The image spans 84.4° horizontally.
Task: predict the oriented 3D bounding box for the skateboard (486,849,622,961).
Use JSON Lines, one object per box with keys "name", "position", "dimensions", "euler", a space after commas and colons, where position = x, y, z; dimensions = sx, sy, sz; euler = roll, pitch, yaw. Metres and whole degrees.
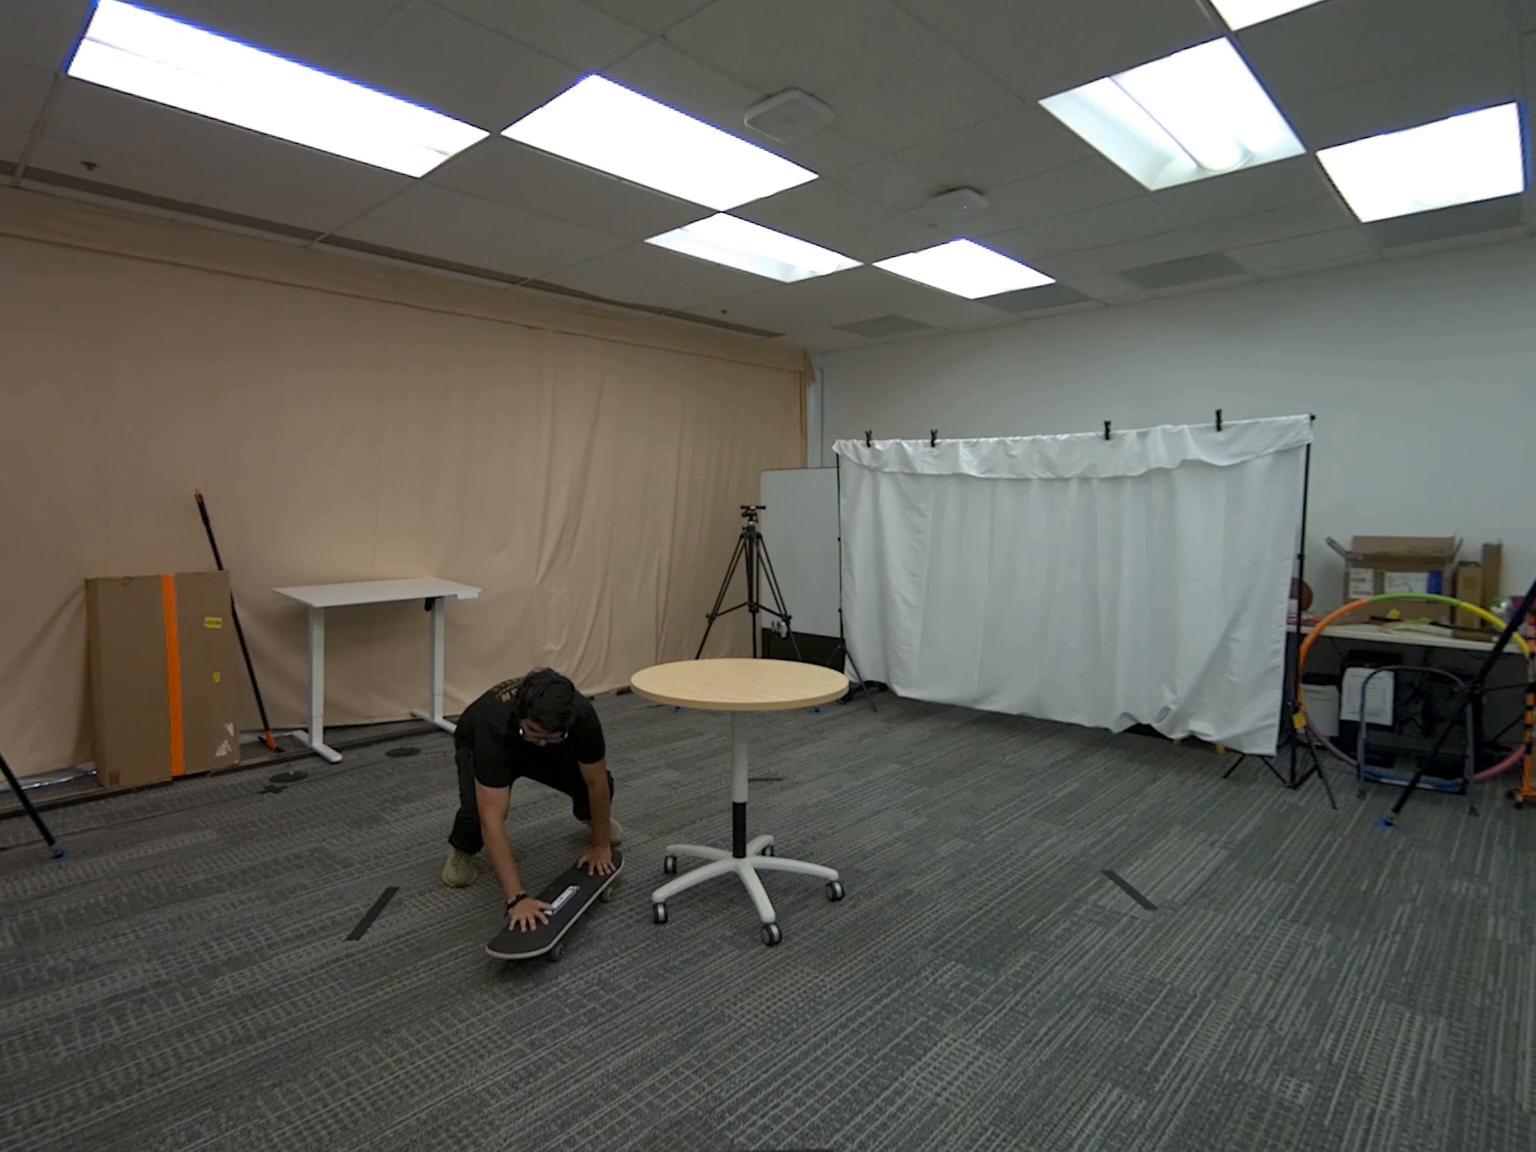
{"name": "skateboard", "position": [-0.680, 1.104, 2.797], "dimensions": [0.196, 0.110, 0.775], "euler": [-1, 5, 12]}
